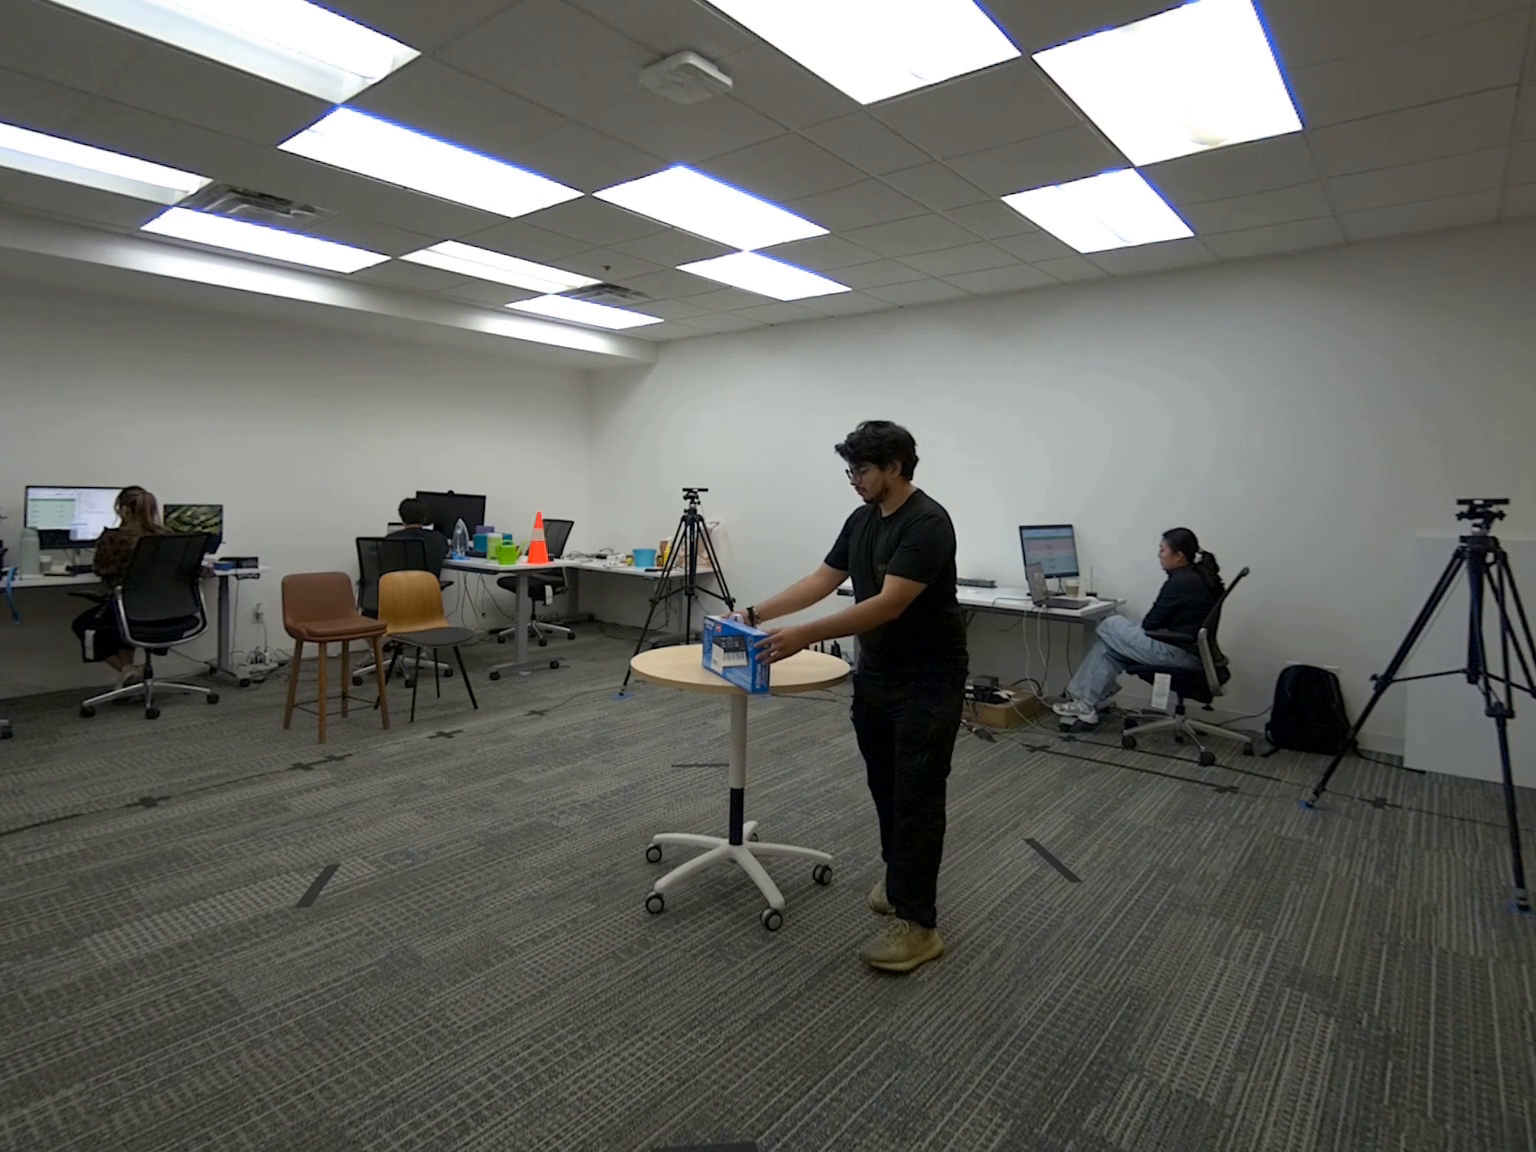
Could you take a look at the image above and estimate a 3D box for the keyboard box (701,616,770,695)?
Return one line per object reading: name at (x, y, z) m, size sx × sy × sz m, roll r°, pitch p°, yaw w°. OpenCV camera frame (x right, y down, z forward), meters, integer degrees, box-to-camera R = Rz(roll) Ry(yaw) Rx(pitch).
keyboard box at (-0.111, 0.237, 2.706) m, size 0.058 × 0.176 × 0.448 m, roll 3°, pitch 2°, yaw -25°
